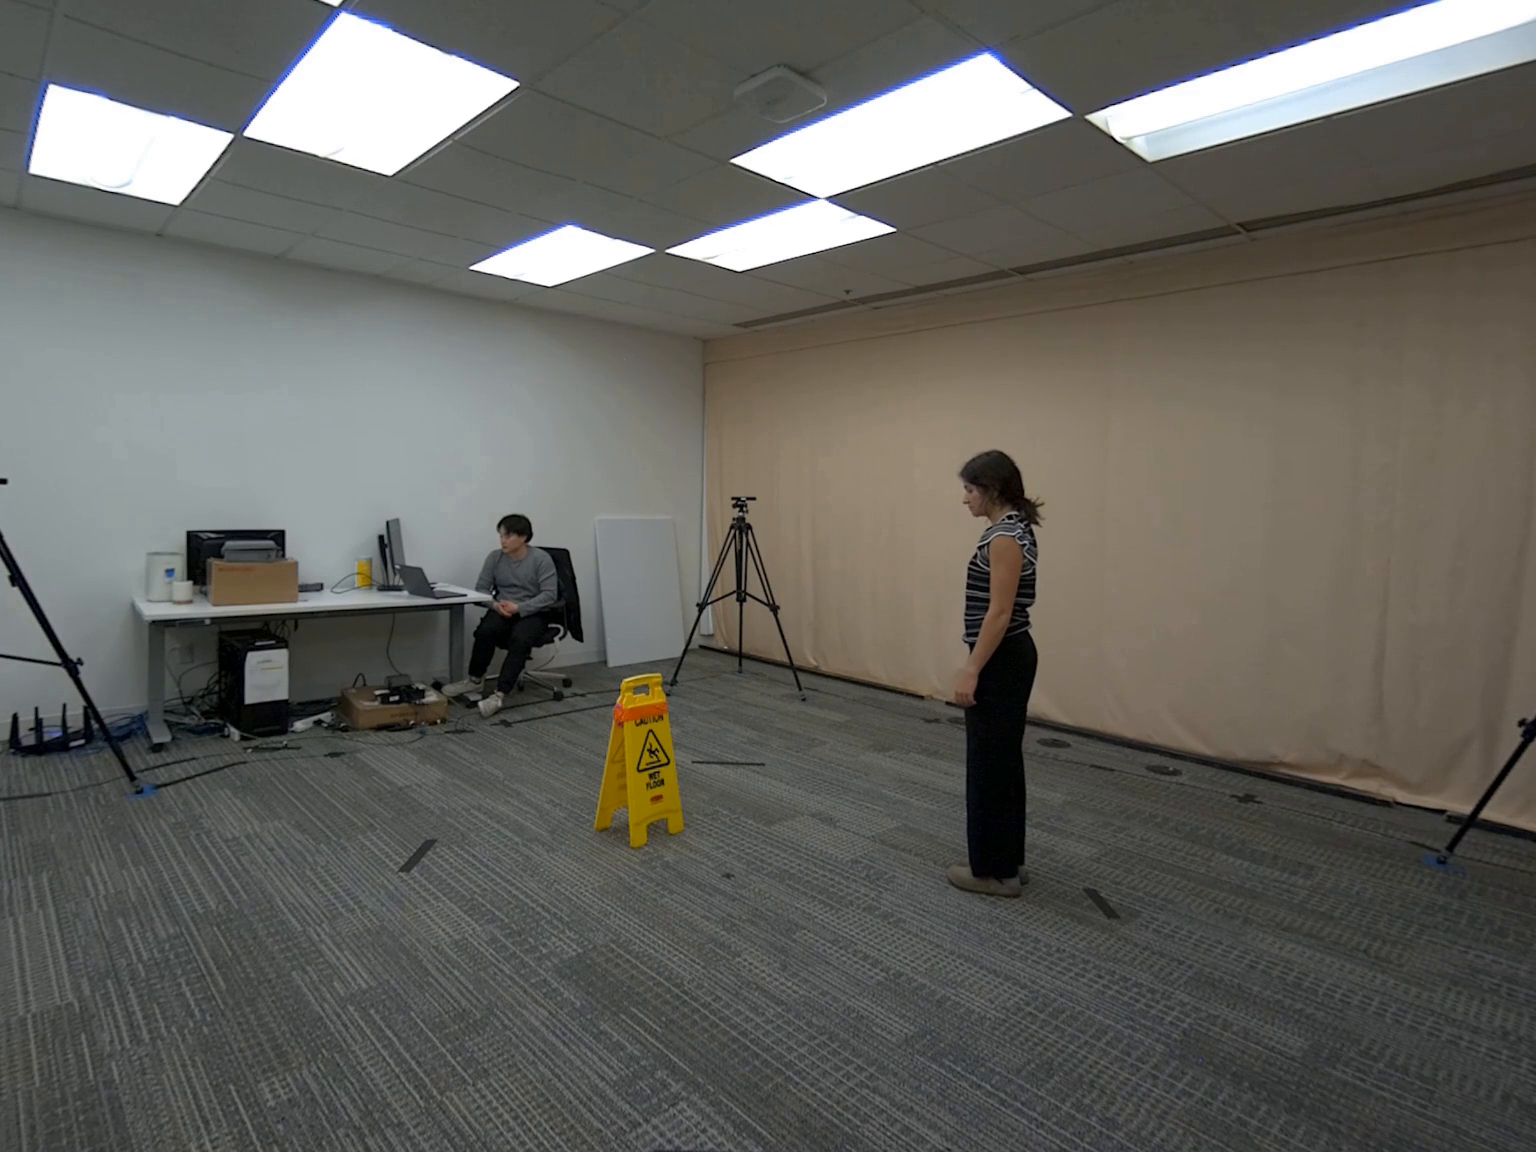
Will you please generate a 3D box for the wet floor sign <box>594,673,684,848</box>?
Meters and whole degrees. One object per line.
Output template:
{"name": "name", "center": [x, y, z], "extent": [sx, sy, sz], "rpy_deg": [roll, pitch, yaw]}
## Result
{"name": "wet floor sign", "center": [-0.534, 0.733, 3.493], "extent": [0.297, 0.645, 0.276], "rpy_deg": [3, 3, 44]}
